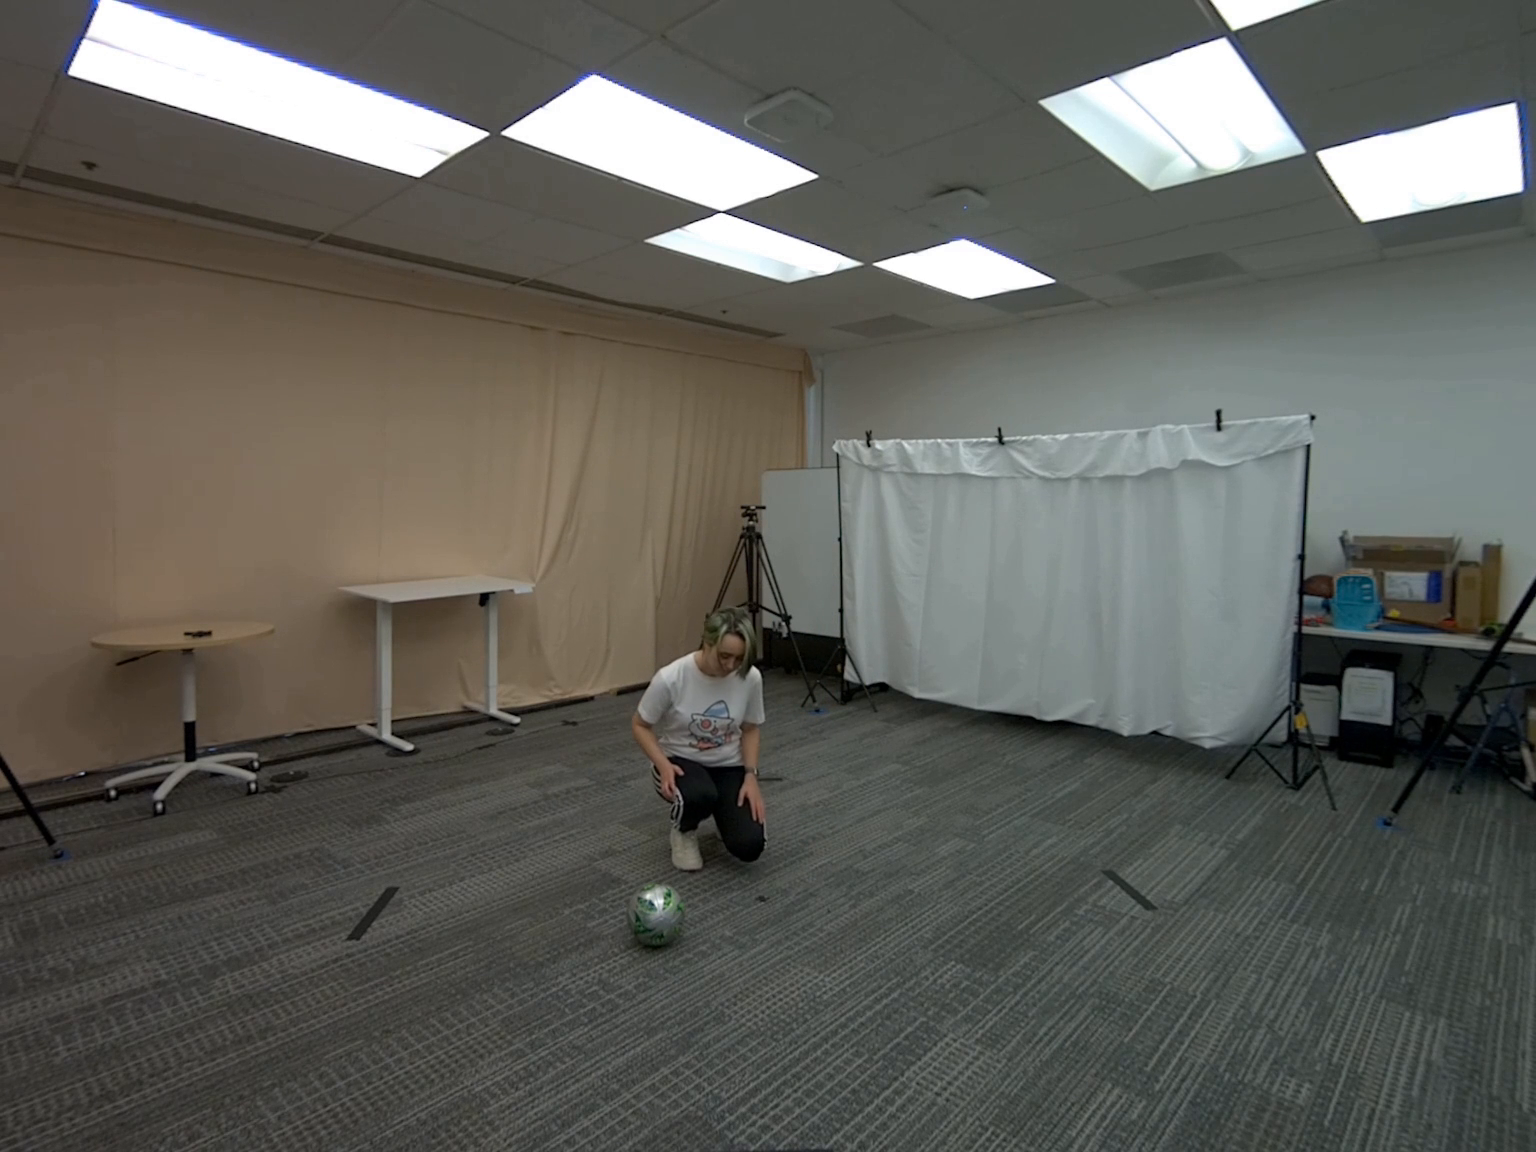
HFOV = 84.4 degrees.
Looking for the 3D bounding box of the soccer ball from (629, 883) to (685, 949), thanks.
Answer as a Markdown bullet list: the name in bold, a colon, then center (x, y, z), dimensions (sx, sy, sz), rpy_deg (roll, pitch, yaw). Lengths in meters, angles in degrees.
- **soccer ball**: center (-0.355, 1.066, 2.689), dimensions (0.187, 0.187, 0.188), rpy_deg (0, 4, -2)
